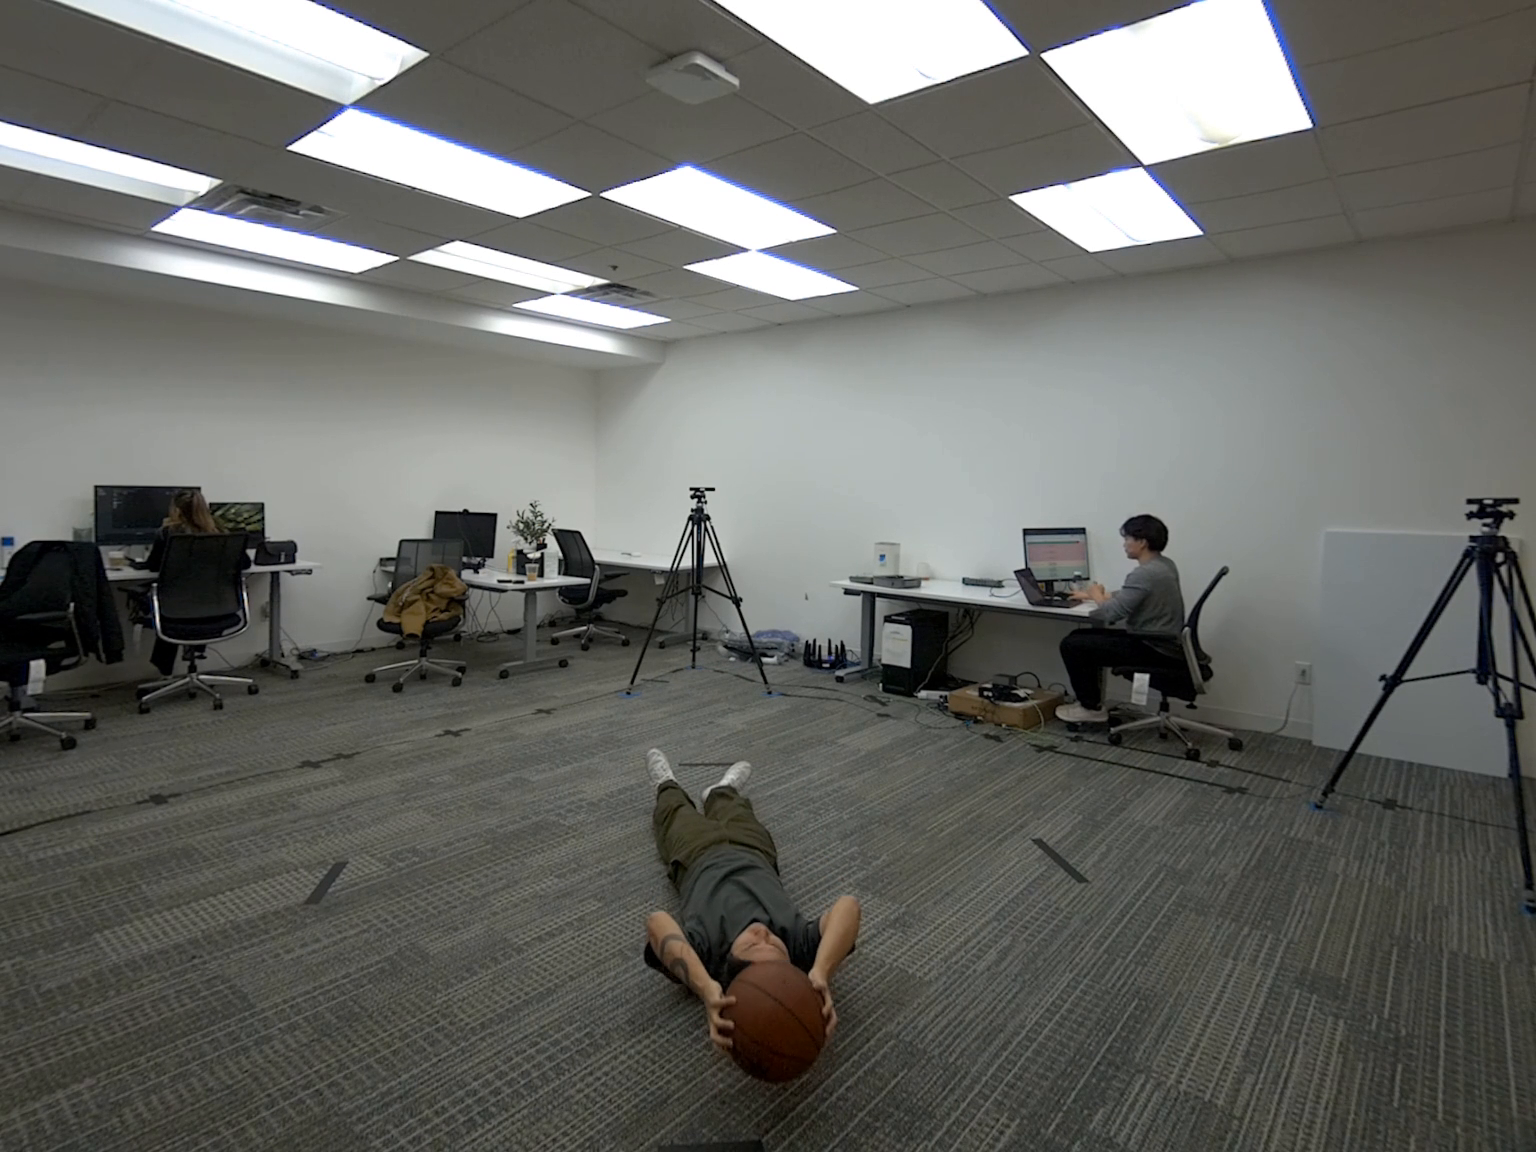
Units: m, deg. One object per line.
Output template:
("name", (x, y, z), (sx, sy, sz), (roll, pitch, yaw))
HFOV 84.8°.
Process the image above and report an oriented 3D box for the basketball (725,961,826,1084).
("basketball", (0.002, 0.977, 1.917), (0.235, 0.235, 0.237), (1, 4, -2))
